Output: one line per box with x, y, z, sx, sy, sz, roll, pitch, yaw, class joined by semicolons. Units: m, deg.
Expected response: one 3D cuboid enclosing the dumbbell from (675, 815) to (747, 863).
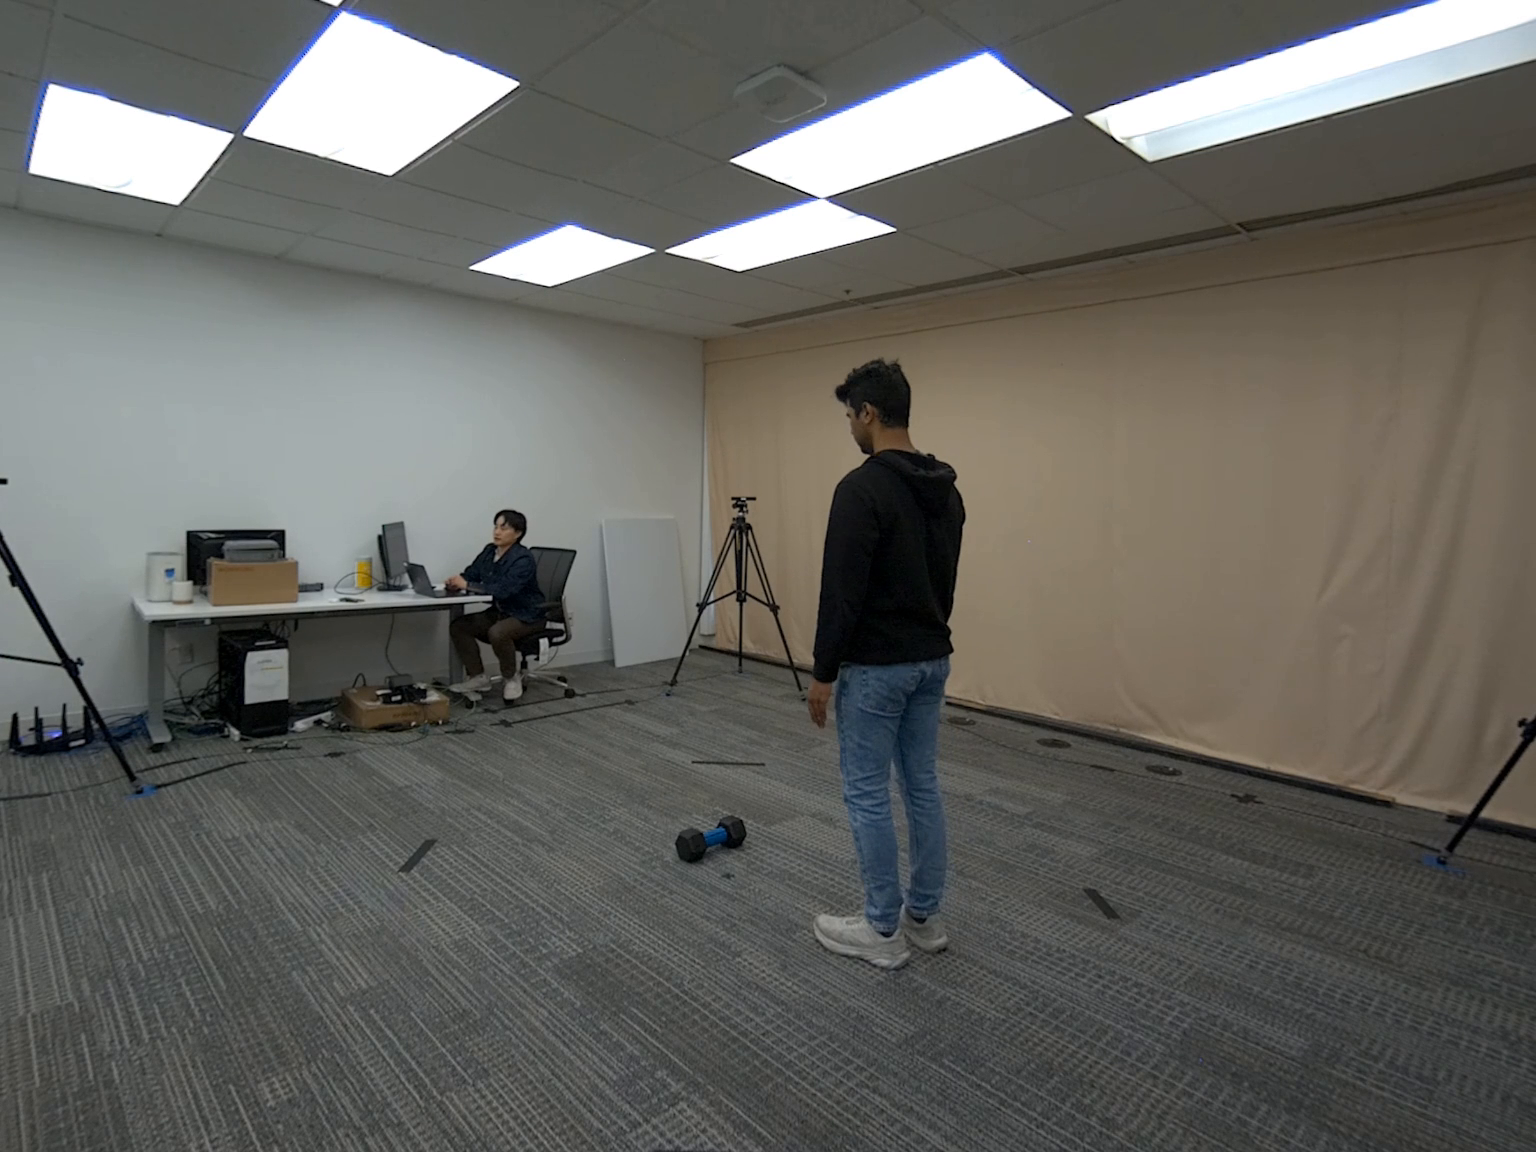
-0.229;1.031;3.306;0.287;0.122;0.112;-5;38;-45;dumbbell
